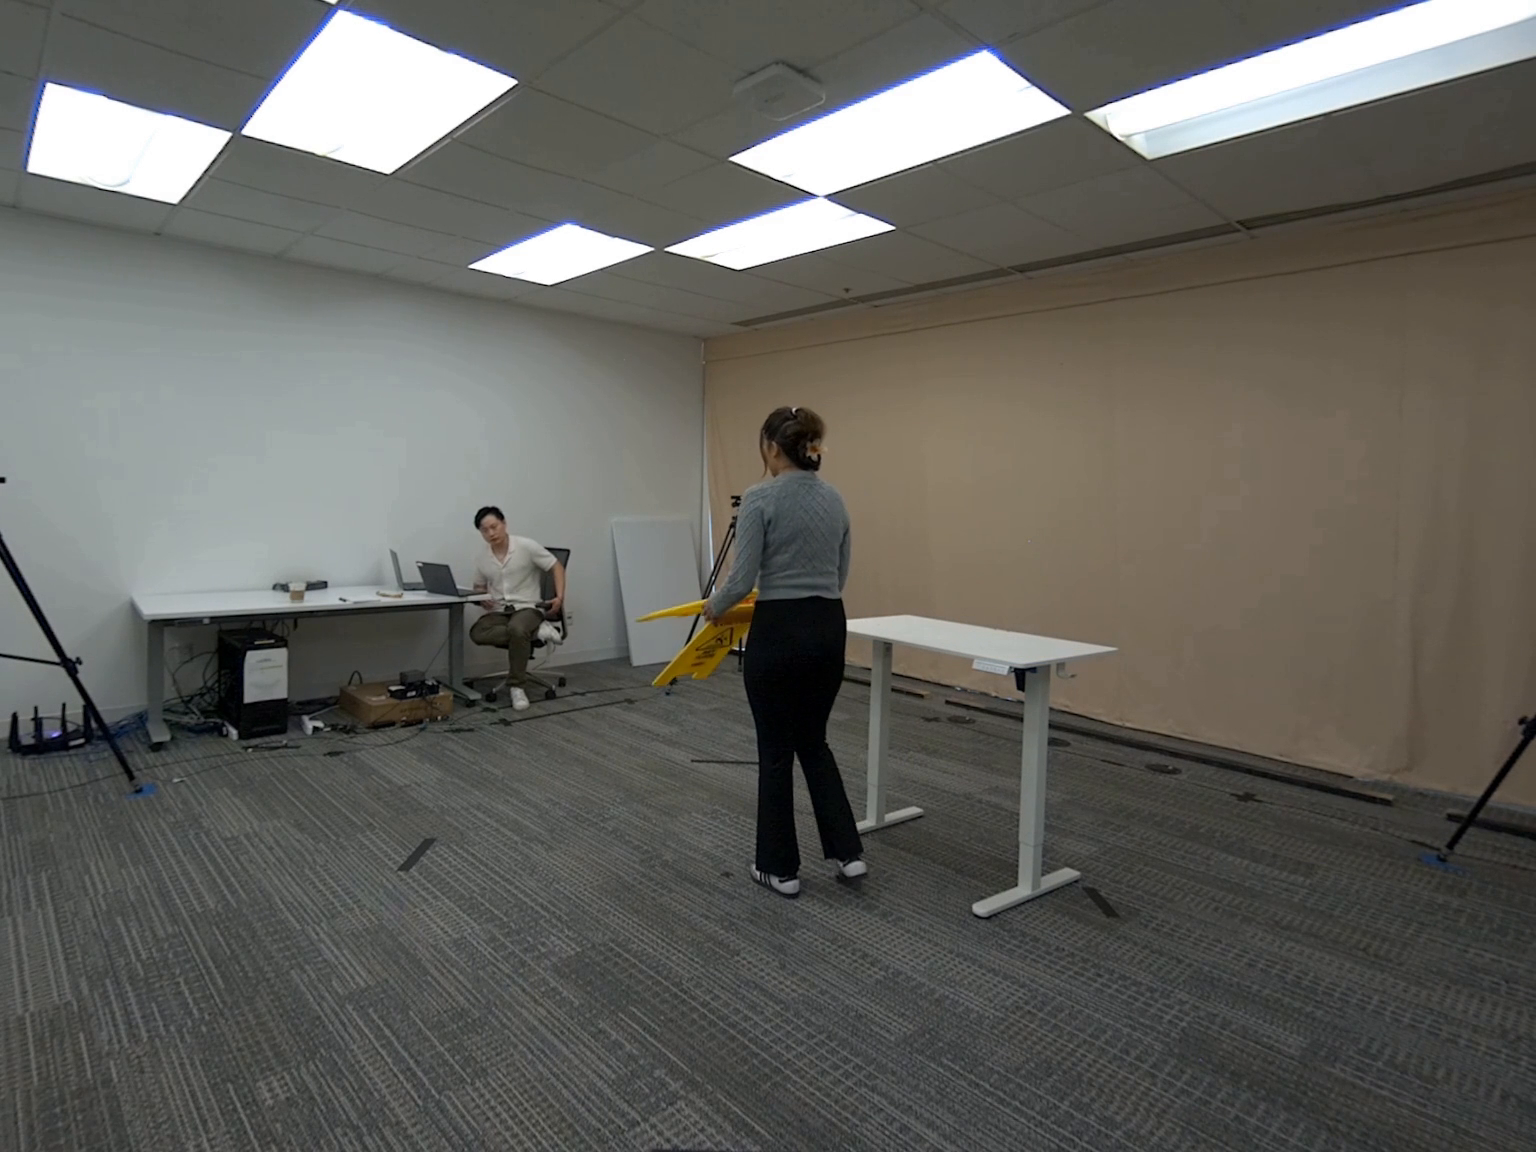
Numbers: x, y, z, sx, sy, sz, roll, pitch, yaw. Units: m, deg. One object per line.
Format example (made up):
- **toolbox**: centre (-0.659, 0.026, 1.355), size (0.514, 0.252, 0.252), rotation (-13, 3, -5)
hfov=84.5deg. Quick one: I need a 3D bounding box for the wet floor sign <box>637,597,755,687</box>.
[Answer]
- **wet floor sign**: centre (-0.227, 0.187, 3.329), size (0.276, 0.294, 0.650), rotation (-4, -21, -41)
